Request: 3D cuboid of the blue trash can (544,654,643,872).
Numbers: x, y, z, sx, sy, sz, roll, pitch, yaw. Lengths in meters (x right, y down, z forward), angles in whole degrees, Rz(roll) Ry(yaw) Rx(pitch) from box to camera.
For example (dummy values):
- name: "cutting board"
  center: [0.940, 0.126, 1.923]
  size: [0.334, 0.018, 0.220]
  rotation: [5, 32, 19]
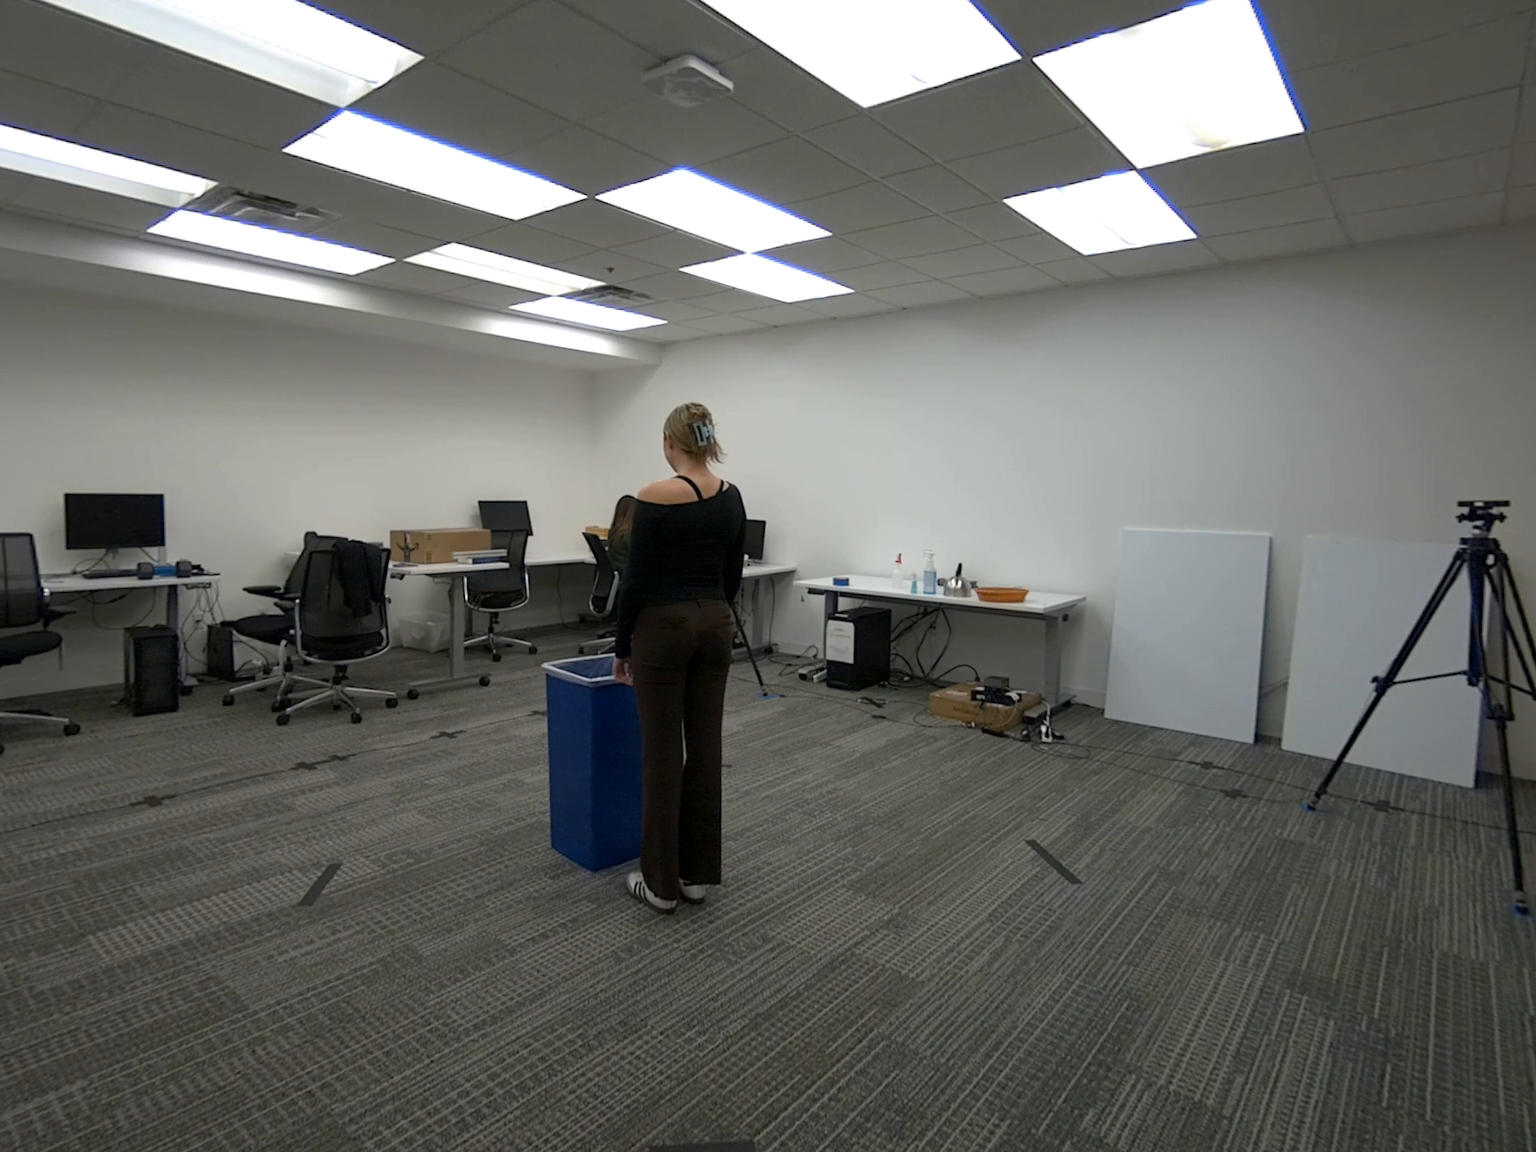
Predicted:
- name: "blue trash can"
  center: [-0.645, 0.696, 3.257]
  size: [0.362, 0.712, 0.391]
  rotation: [-1, 4, -44]
